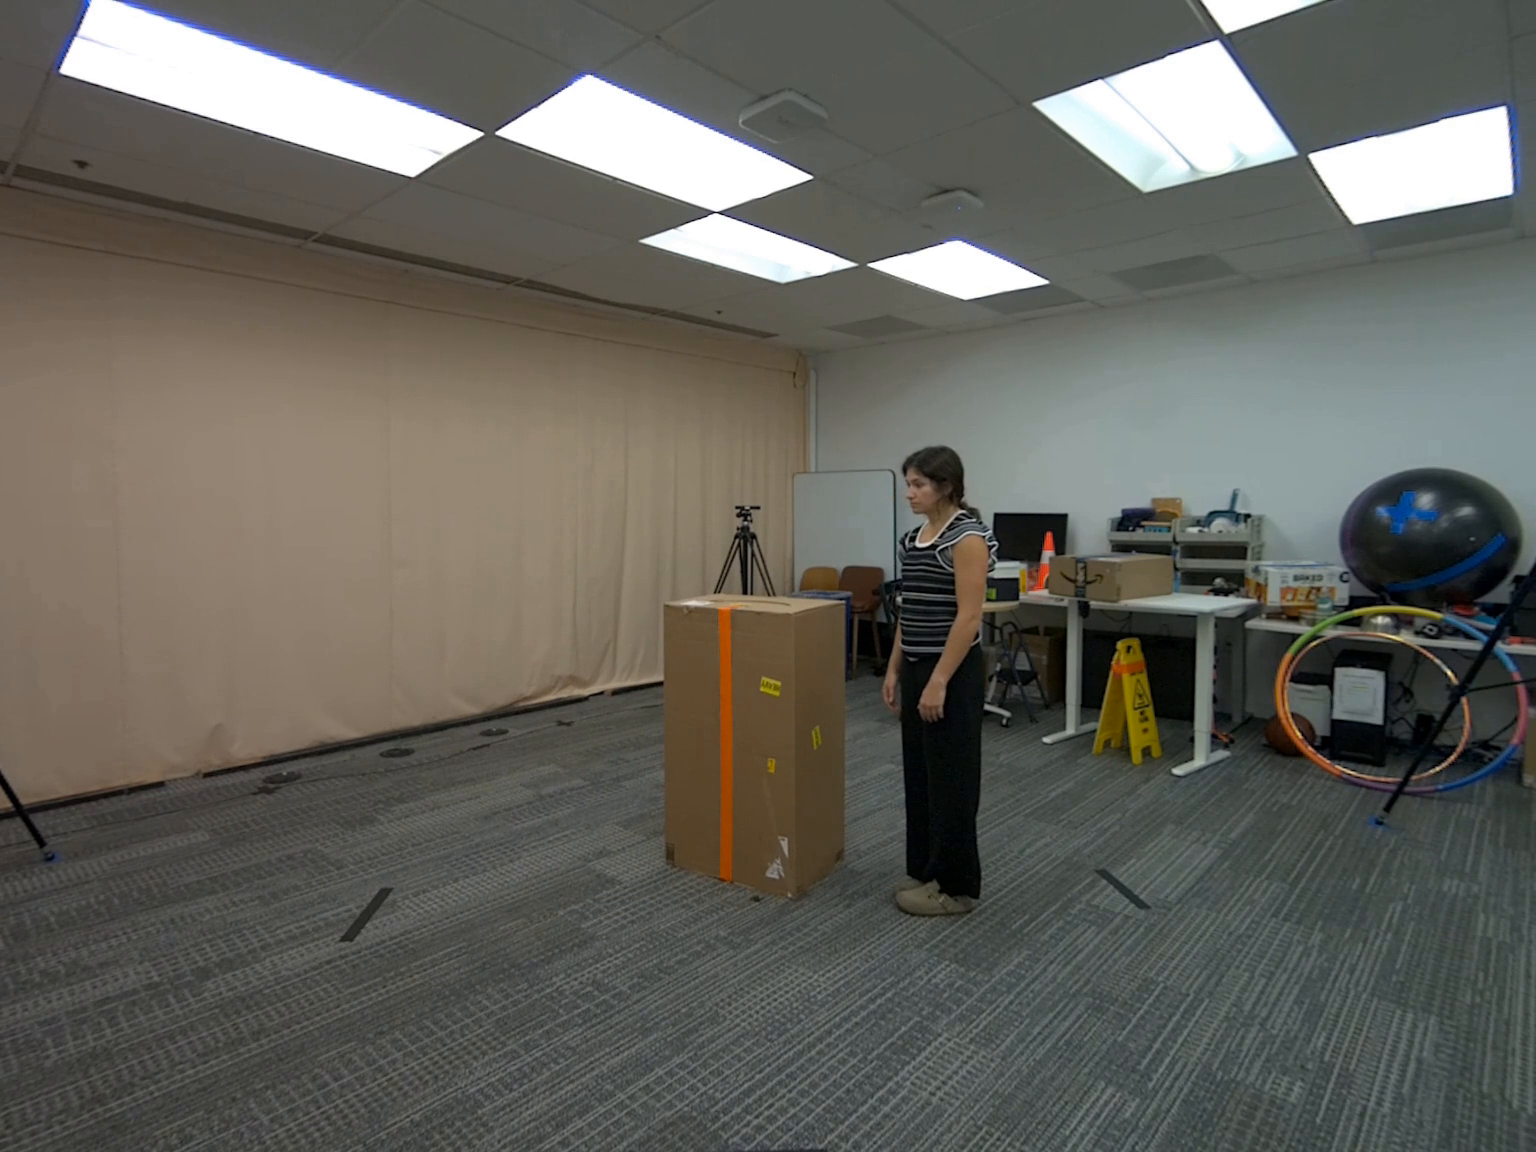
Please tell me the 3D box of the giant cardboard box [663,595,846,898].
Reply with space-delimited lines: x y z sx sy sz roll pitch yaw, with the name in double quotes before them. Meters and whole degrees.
"giant cardboard box" -0.049 0.612 3.276 0.595 1.024 0.414 2 4 32
